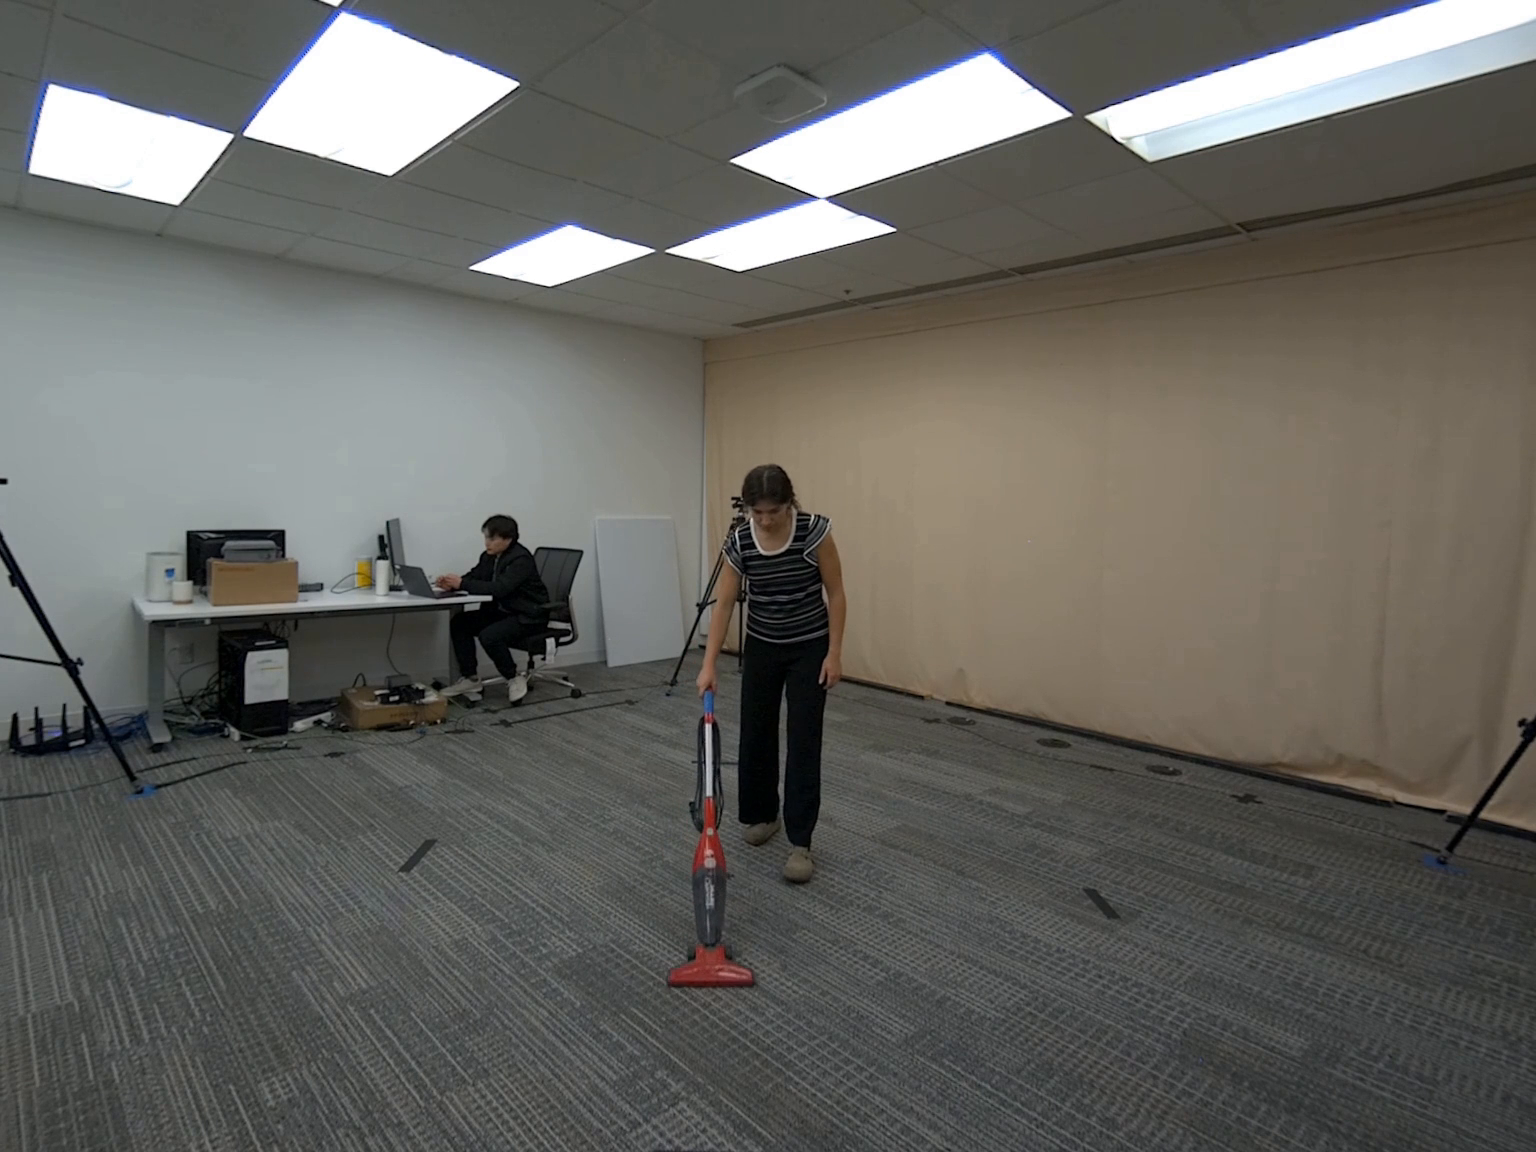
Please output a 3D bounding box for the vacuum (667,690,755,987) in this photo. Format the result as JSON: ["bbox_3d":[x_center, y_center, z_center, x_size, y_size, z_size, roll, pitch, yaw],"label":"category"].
[{"bbox_3d":[-0.208,0.780,2.849,0.252,0.141,1.074,0,44,-5],"label":"vacuum"}]
